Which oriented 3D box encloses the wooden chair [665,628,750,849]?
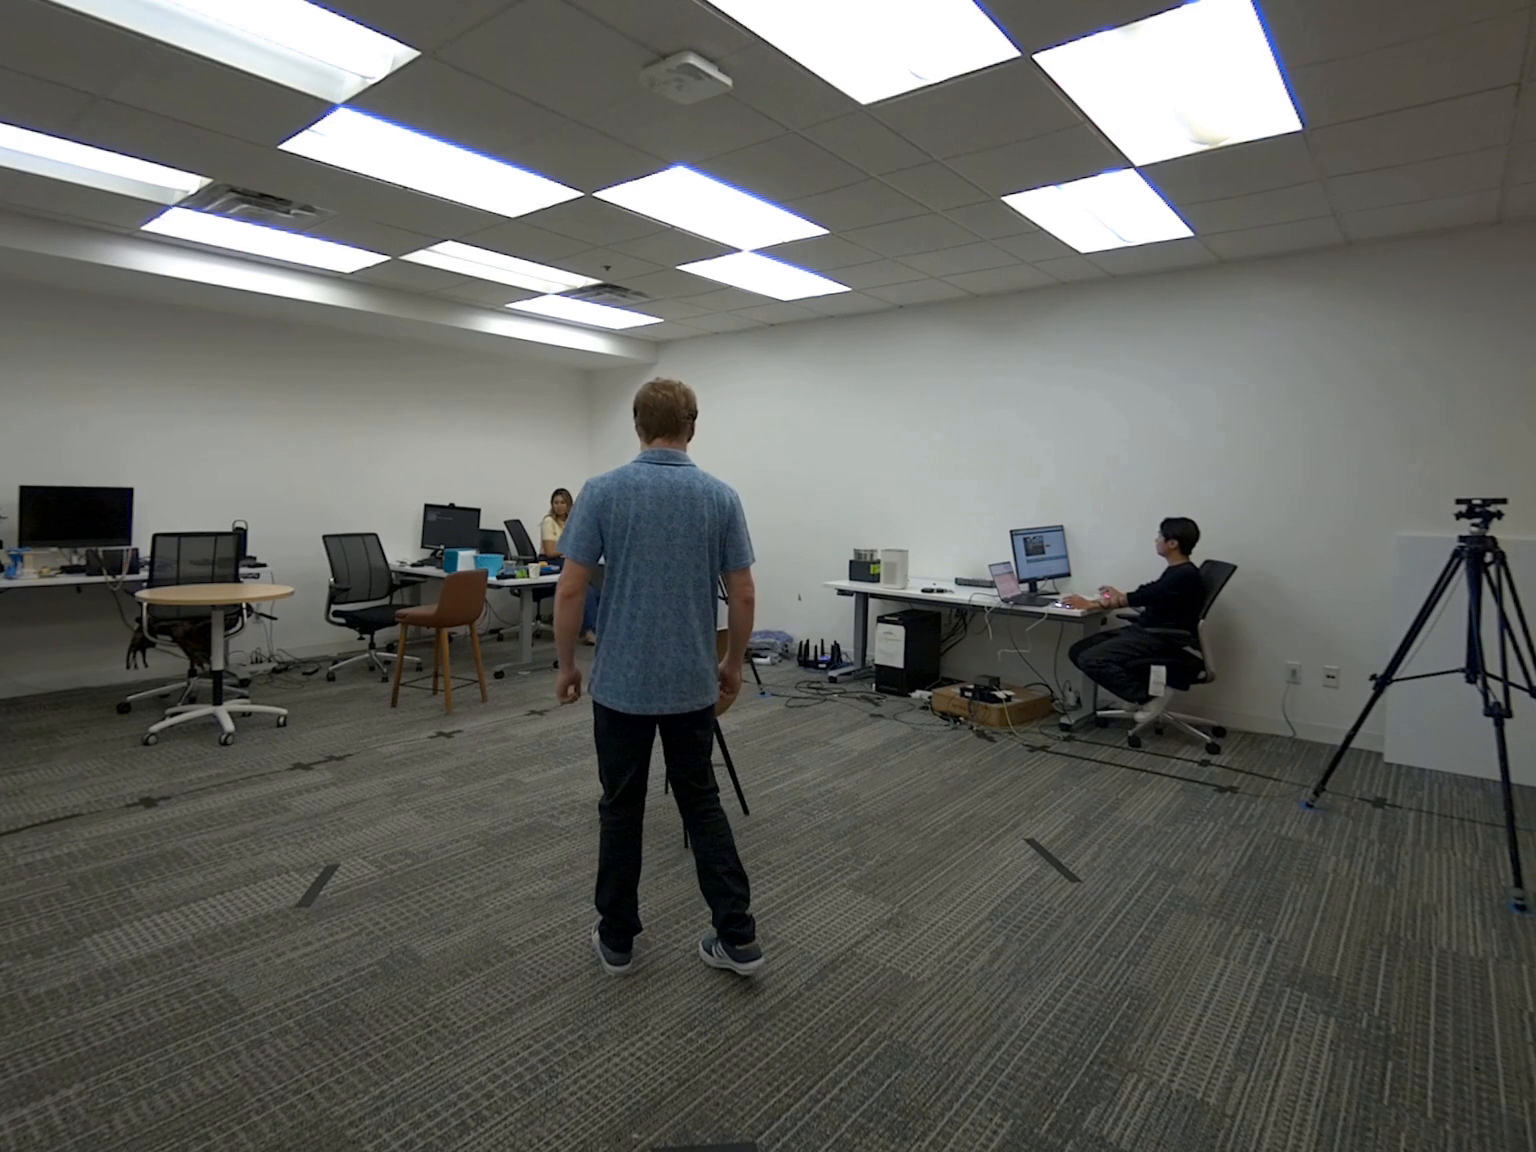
[{"bbox_3d":[-0.399,0.590,3.568,0.540,0.873,0.465,9,7,32],"label":"wooden chair"}]
